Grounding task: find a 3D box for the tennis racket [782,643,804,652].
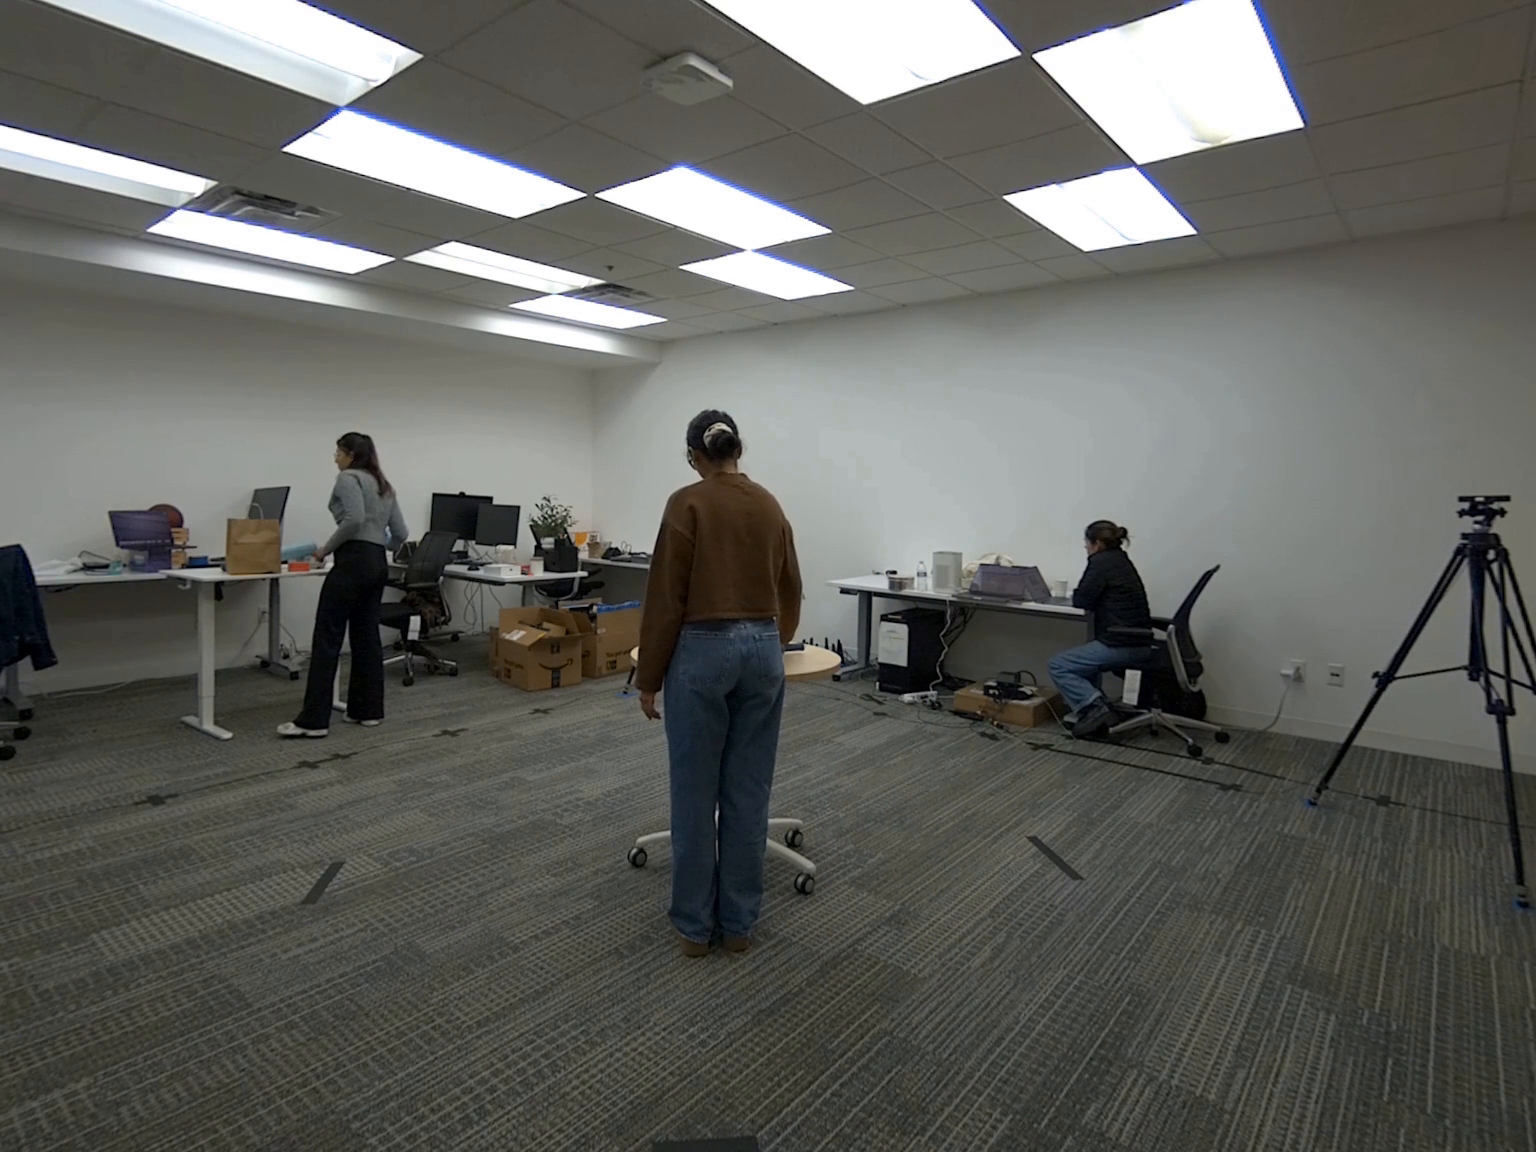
[{"bbox_3d":[-0.059,0.272,3.058,0.424,0.031,0.220,-3,13,-20],"label":"tennis racket"}]
